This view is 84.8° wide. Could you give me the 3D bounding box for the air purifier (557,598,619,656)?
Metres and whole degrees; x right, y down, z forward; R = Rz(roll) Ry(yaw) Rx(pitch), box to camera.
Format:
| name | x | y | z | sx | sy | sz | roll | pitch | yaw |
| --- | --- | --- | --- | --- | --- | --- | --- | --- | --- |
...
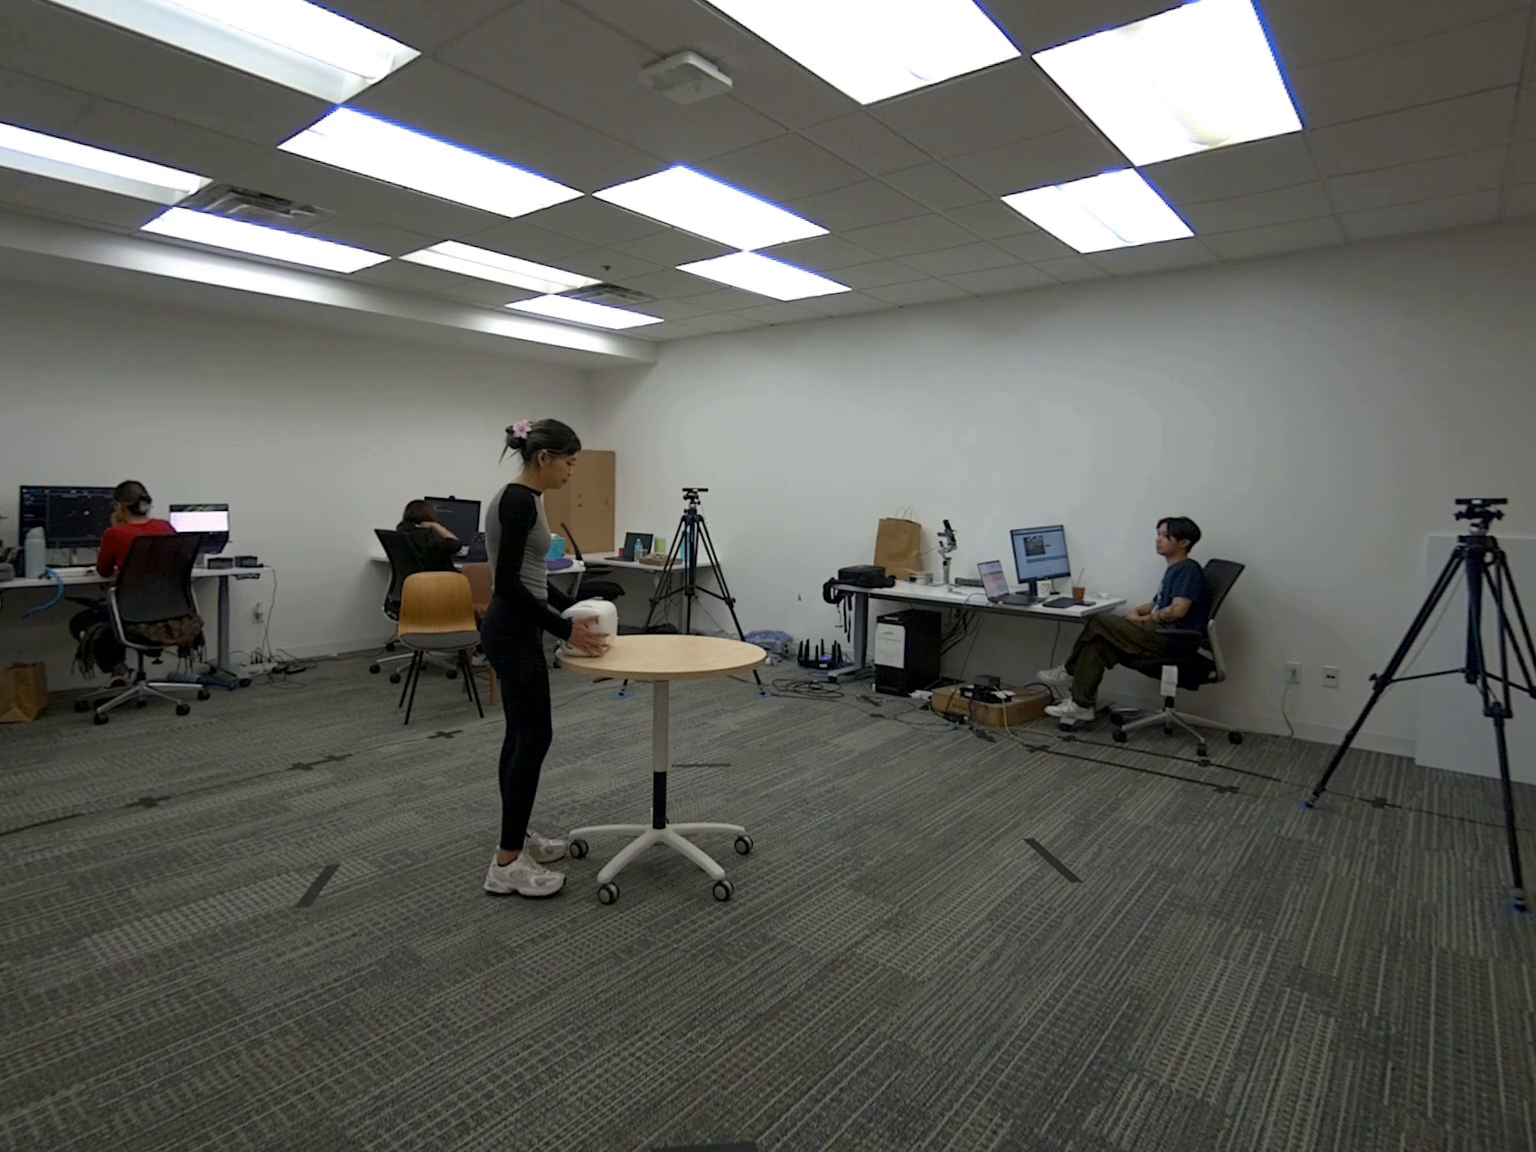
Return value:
| name | x | y | z | sx | sy | sz | roll | pitch | yaw |
| --- | --- | --- | --- | --- | --- | --- | --- | --- | --- |
| air purifier | -0.668 | 0.186 | 3.095 | 0.171 | 0.171 | 0.266 | 1 | 4 | 0 |
